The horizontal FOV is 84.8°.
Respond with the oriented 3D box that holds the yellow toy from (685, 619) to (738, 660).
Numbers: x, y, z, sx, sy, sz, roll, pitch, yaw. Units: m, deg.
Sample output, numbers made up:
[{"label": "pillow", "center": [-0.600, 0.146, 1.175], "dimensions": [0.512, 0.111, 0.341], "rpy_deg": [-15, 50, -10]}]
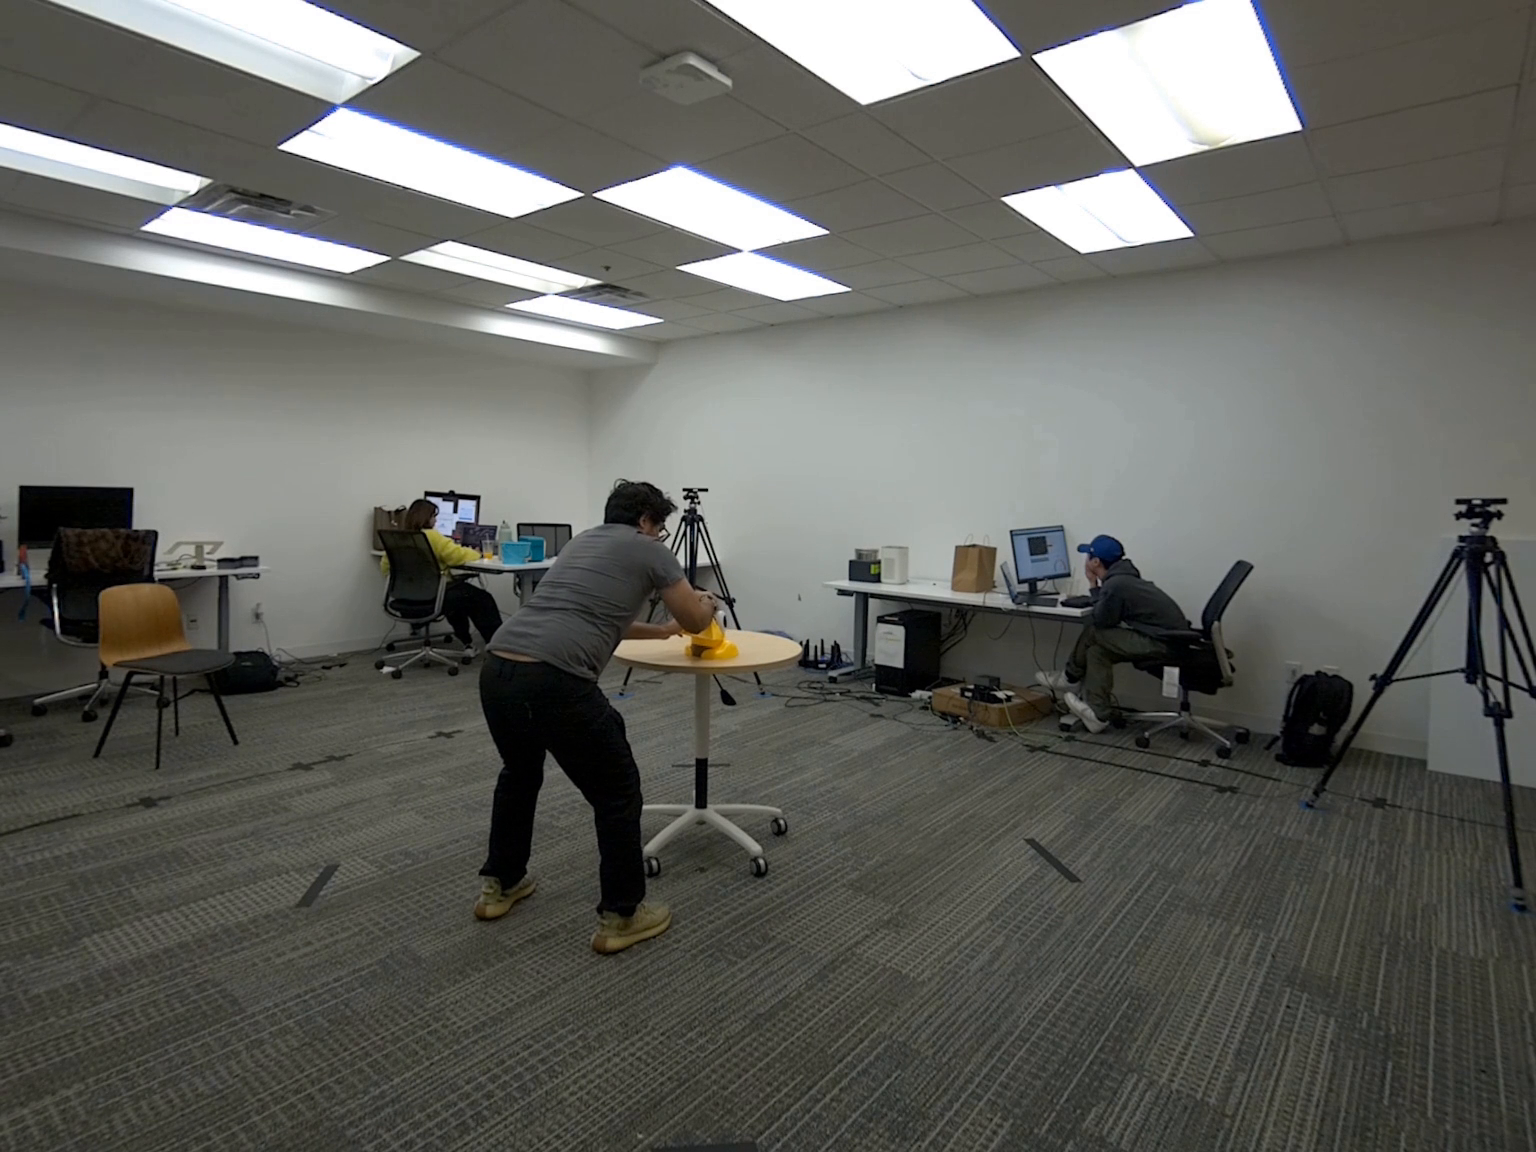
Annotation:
[{"label": "yellow toy", "center": [-0.228, 0.174, 3.146], "dimensions": [0.212, 0.230, 0.187], "rpy_deg": [4, 4, 41]}]
